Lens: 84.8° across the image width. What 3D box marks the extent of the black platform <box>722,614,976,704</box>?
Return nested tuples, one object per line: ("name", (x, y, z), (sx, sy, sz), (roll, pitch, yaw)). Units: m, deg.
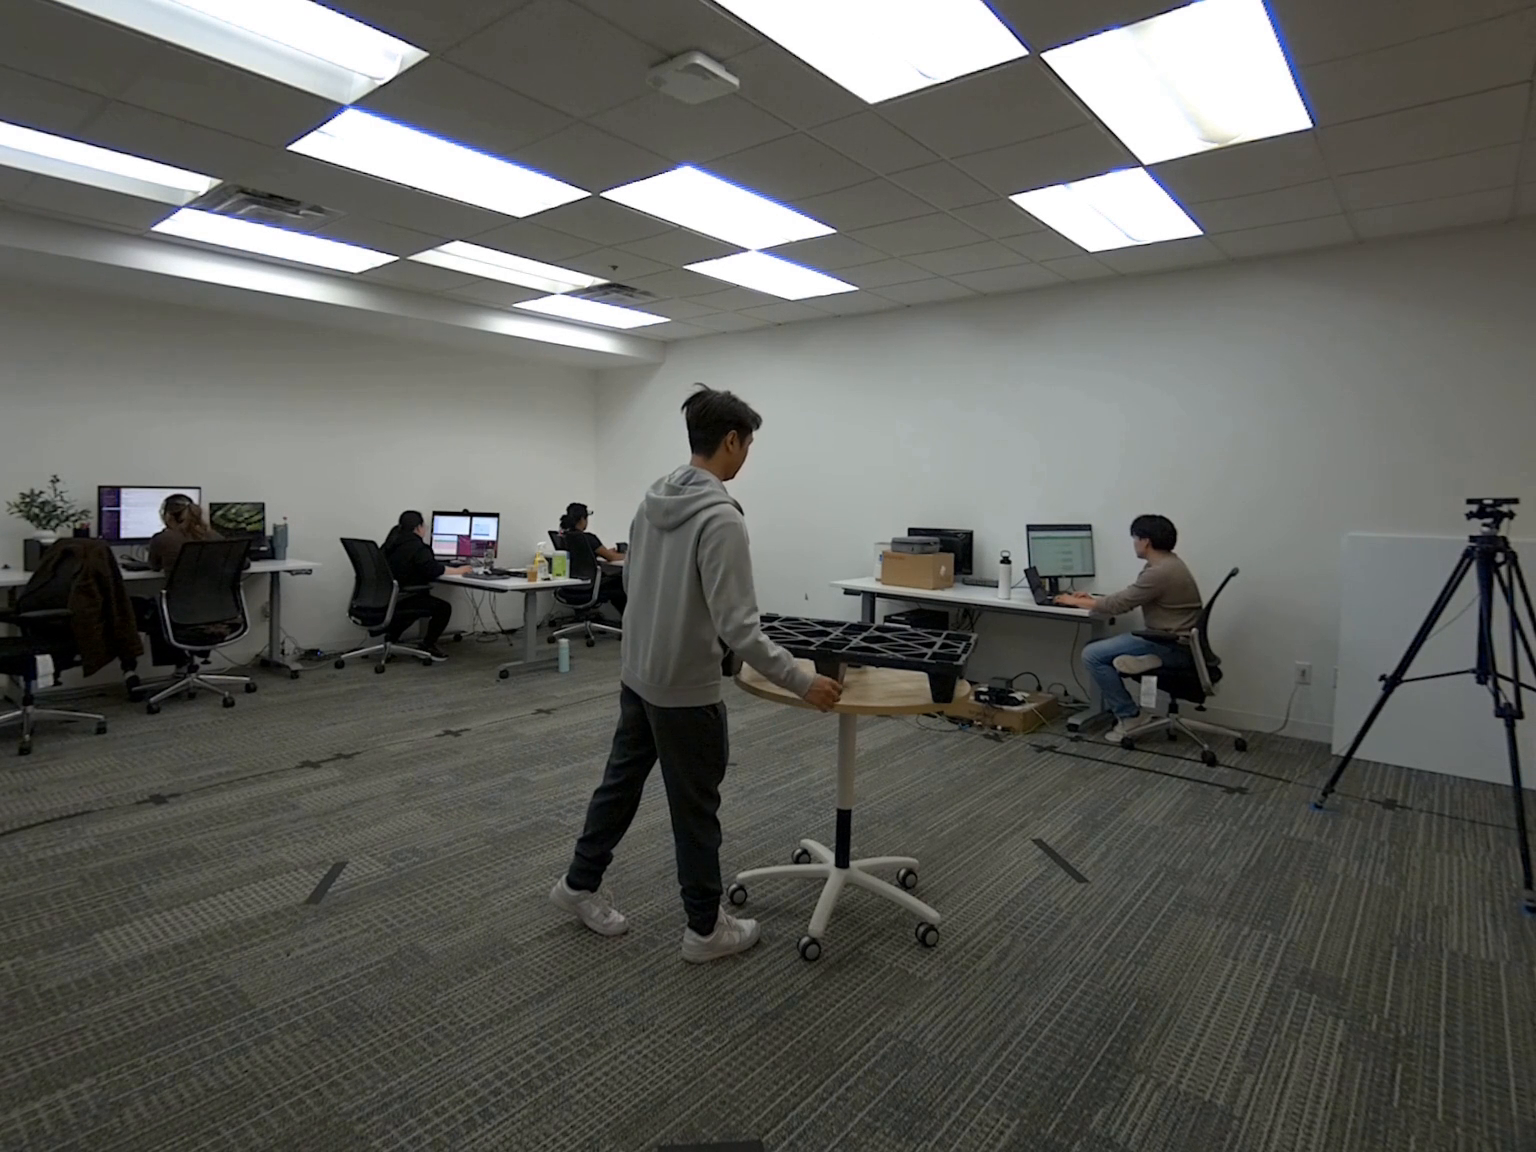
("black platform", (0.252, 0.255, 2.799), (0.824, 0.143, 0.594), (4, 7, 21))
